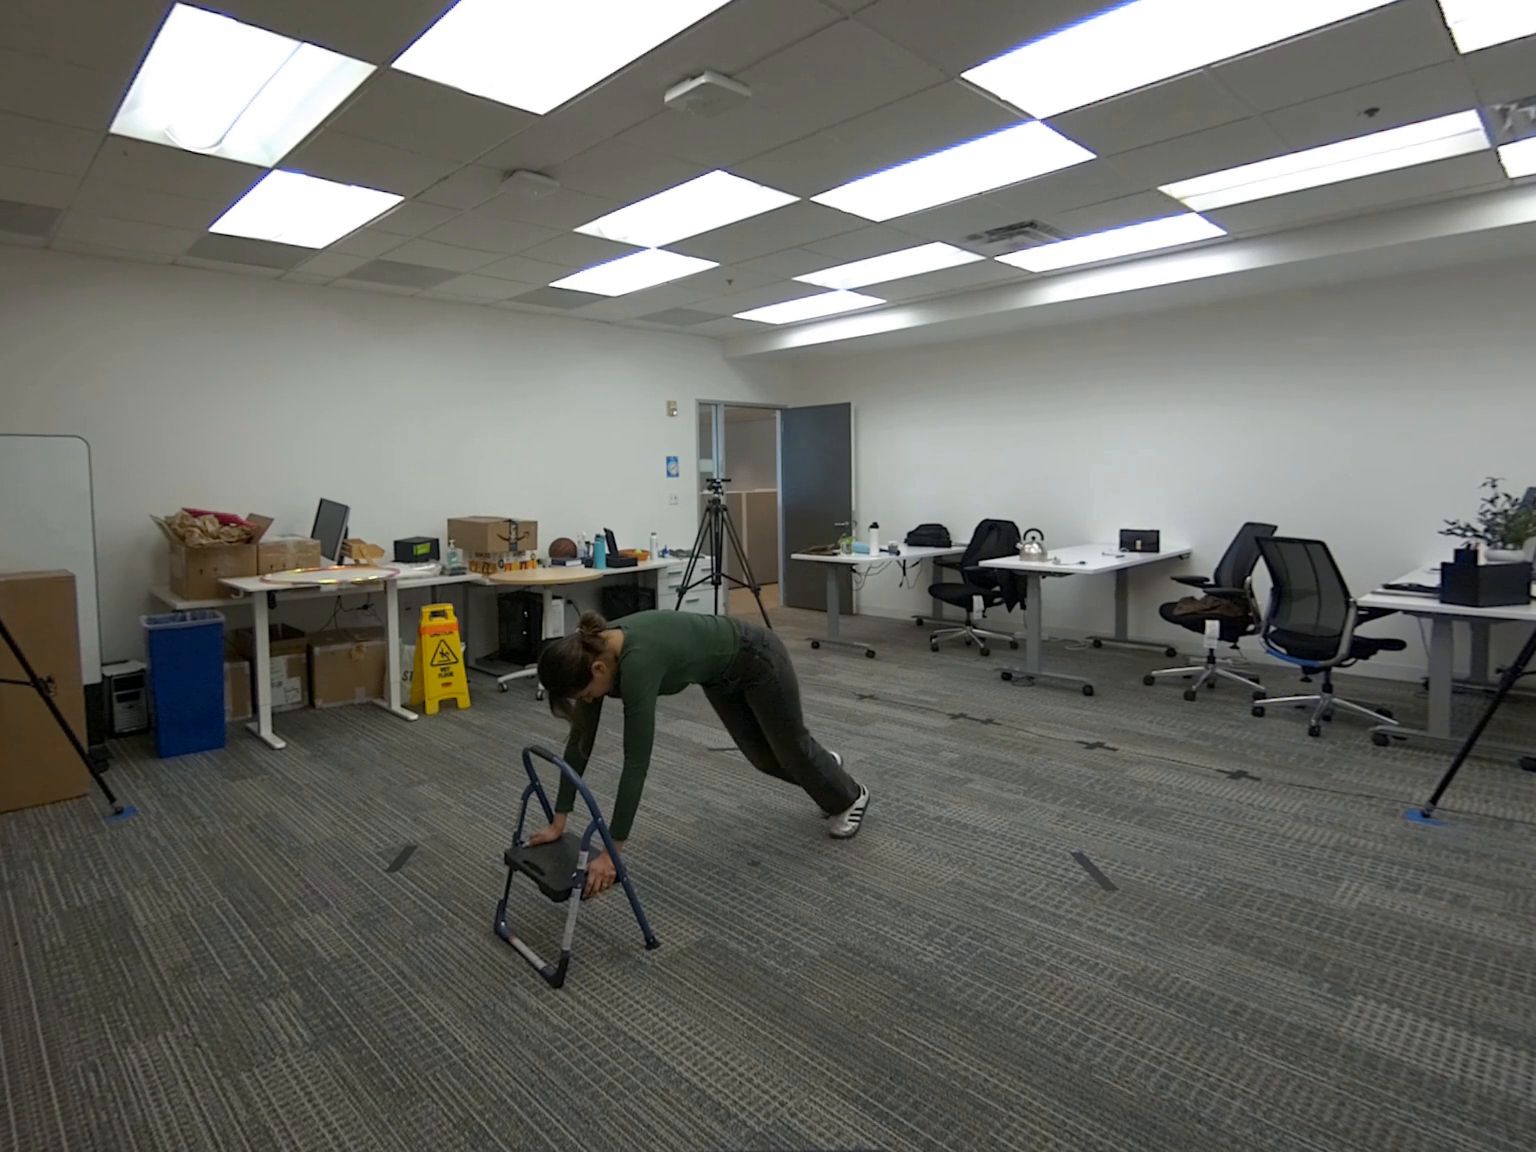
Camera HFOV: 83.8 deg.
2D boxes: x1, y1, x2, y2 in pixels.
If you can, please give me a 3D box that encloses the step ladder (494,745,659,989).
[{"bbox_3d":[-0.598,0.815,2.604,0.340,0.604,0.444,-5,6,-41],"label":"step ladder"}]
